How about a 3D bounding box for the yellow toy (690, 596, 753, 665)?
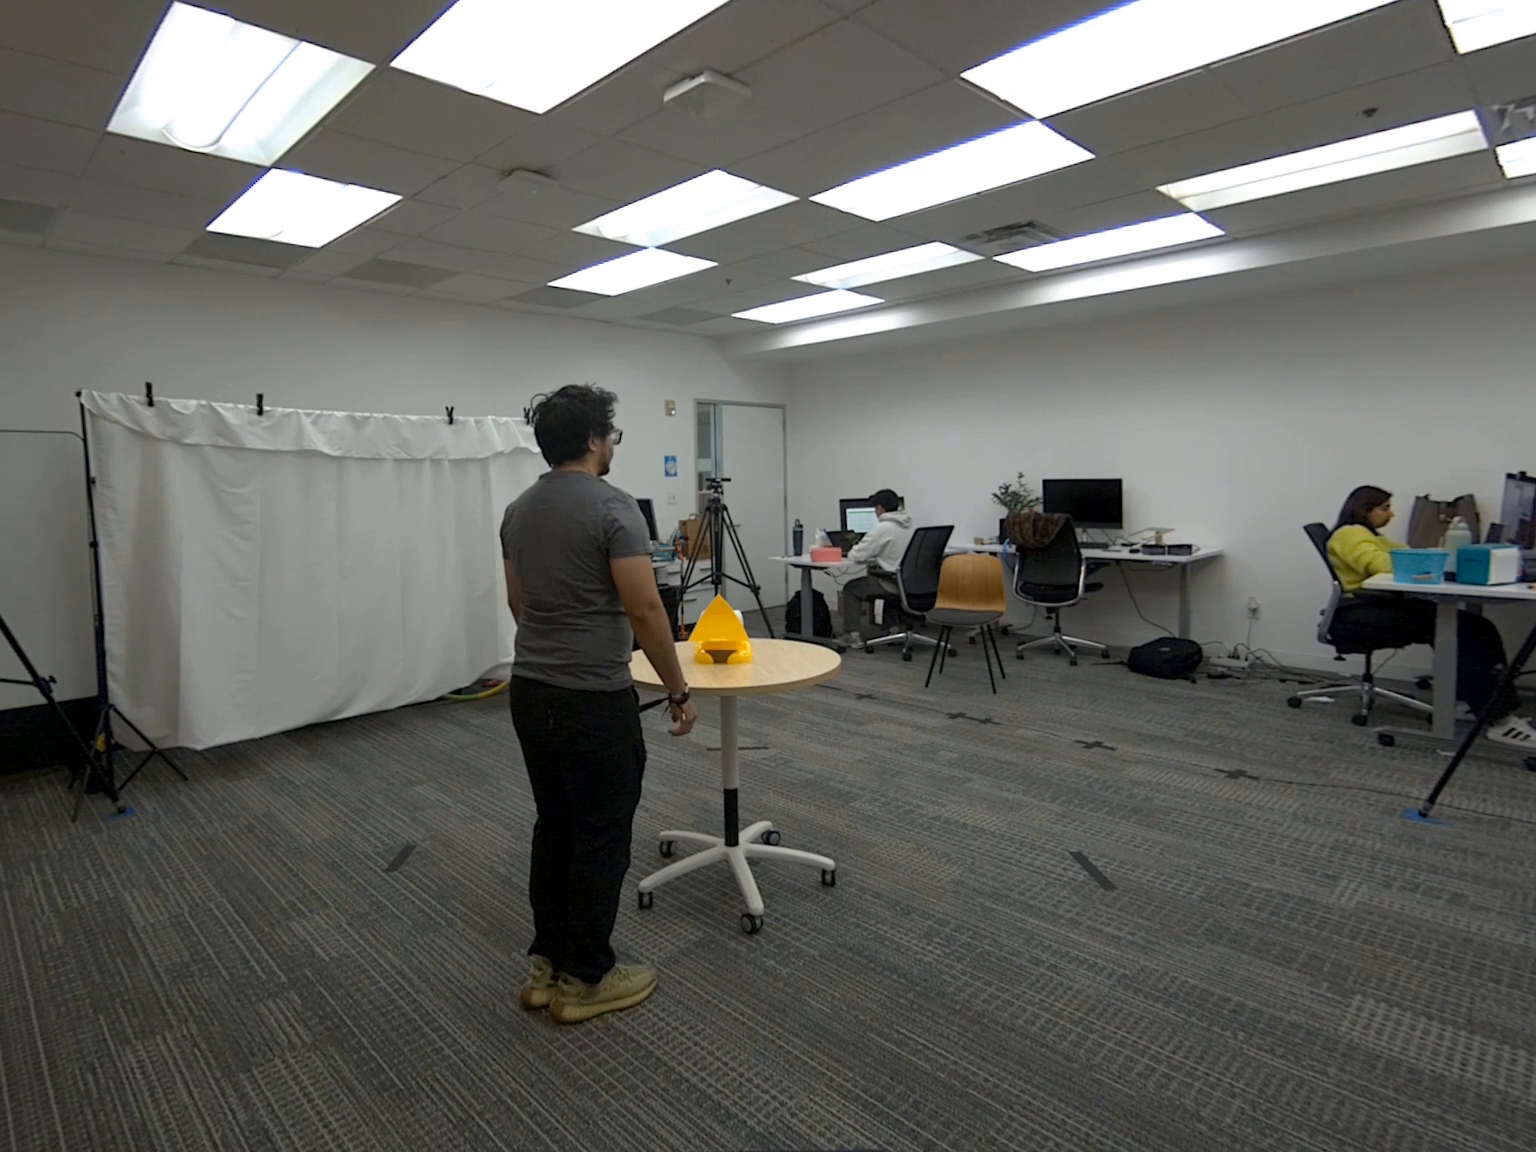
[{"bbox_3d":[-0.154,0.170,2.910,0.206,0.230,0.192,-1,4,7],"label":"yellow toy"}]
